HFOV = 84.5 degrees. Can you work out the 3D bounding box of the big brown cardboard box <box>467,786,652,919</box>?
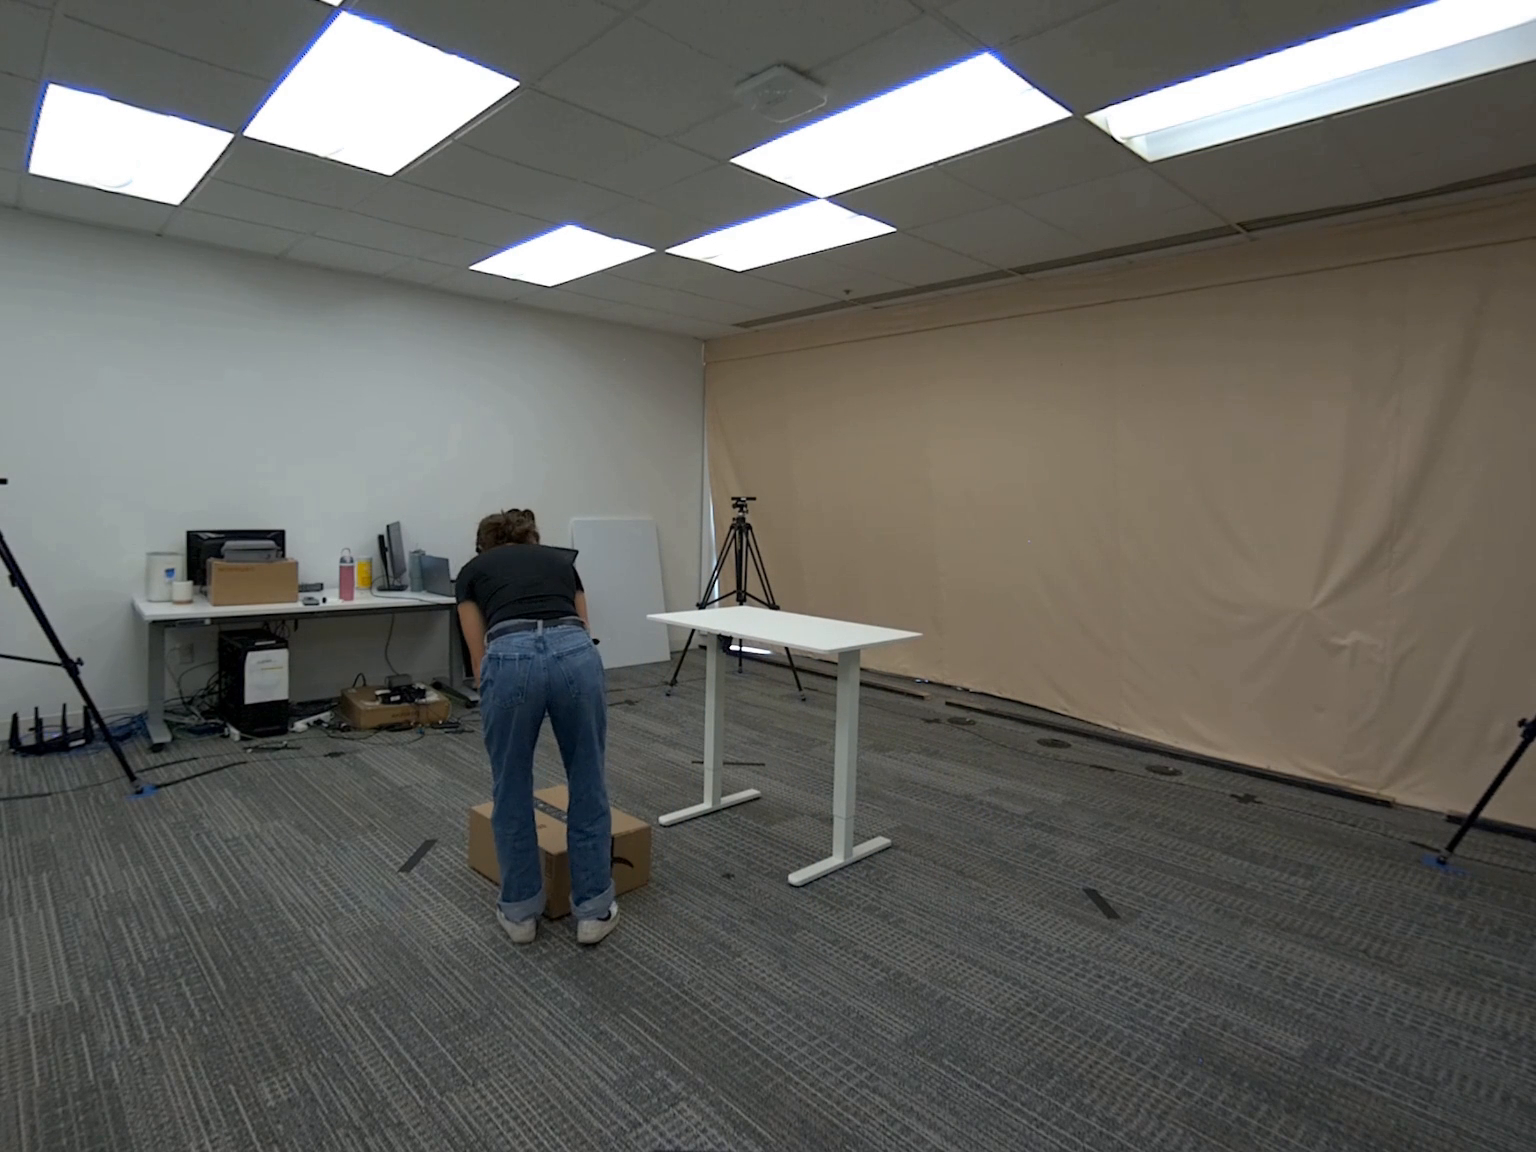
[{"bbox_3d":[-0.774,0.984,3.074,0.604,0.233,0.408,5,5,44],"label":"big brown cardboard box"}]
